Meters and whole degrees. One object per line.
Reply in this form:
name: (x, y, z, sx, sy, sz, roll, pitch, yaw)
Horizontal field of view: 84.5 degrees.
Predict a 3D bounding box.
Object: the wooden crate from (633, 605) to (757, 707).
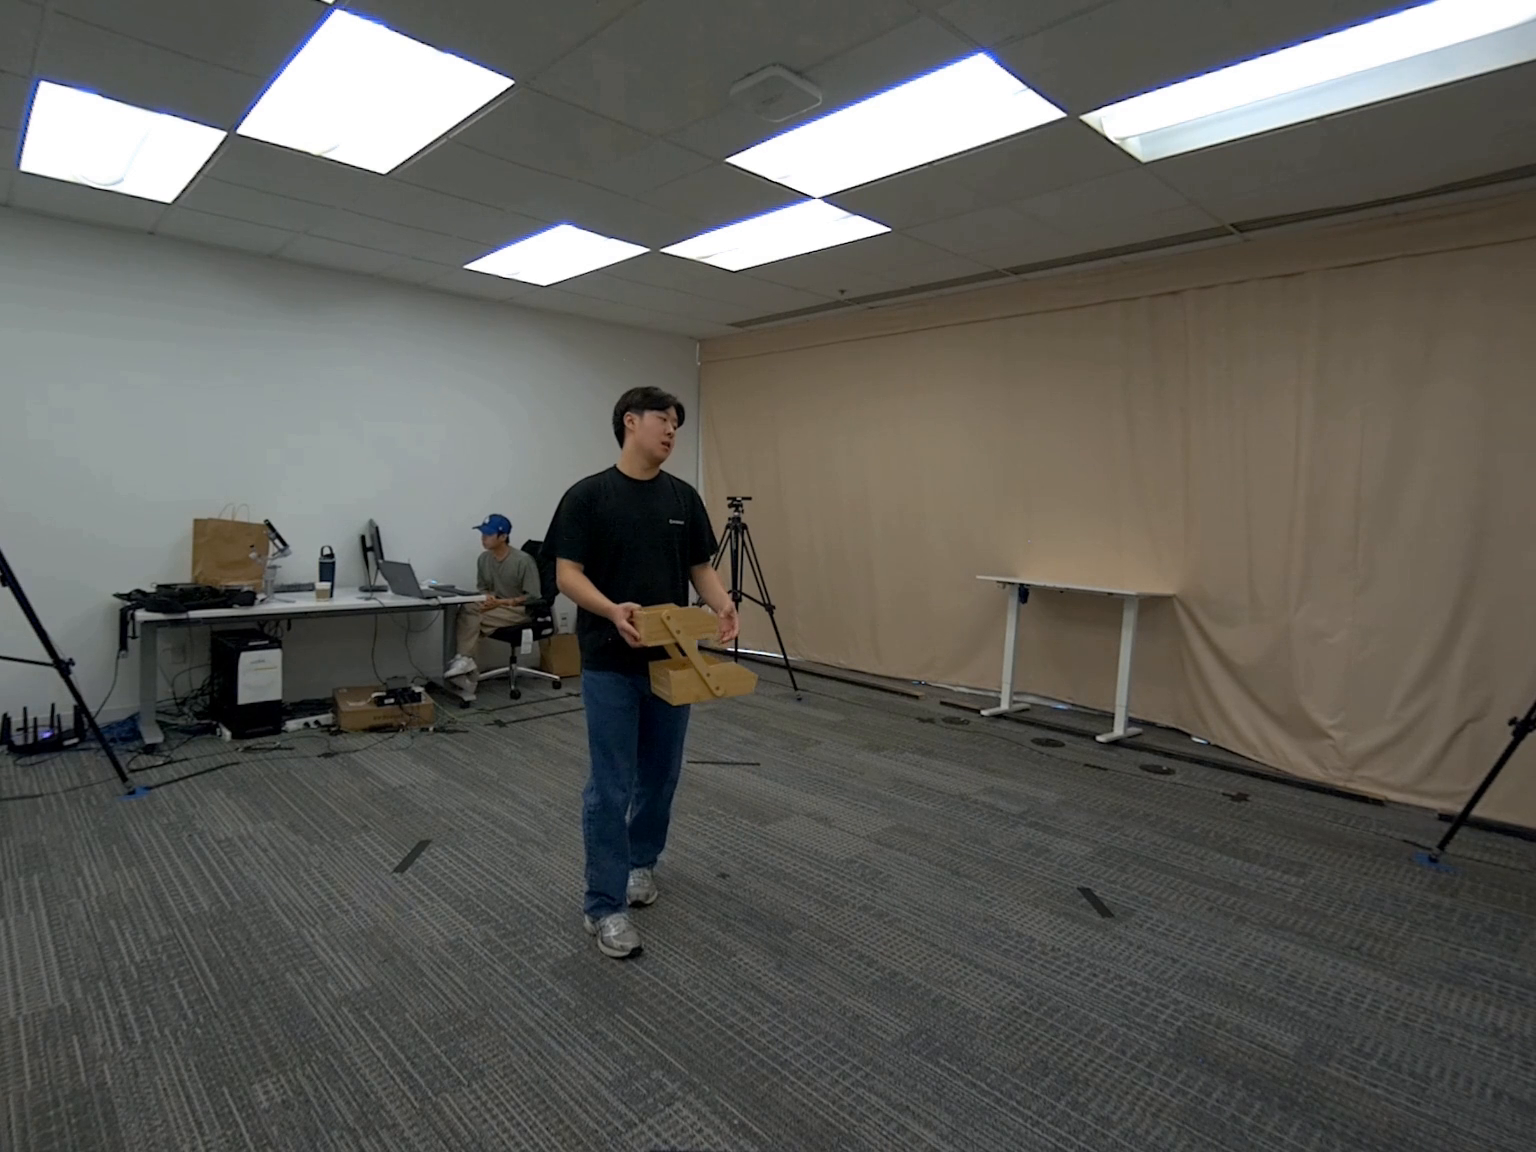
wooden crate: (-0.234, 0.211, 2.439, 0.298, 0.273, 0.328, -6, 0, -17)
